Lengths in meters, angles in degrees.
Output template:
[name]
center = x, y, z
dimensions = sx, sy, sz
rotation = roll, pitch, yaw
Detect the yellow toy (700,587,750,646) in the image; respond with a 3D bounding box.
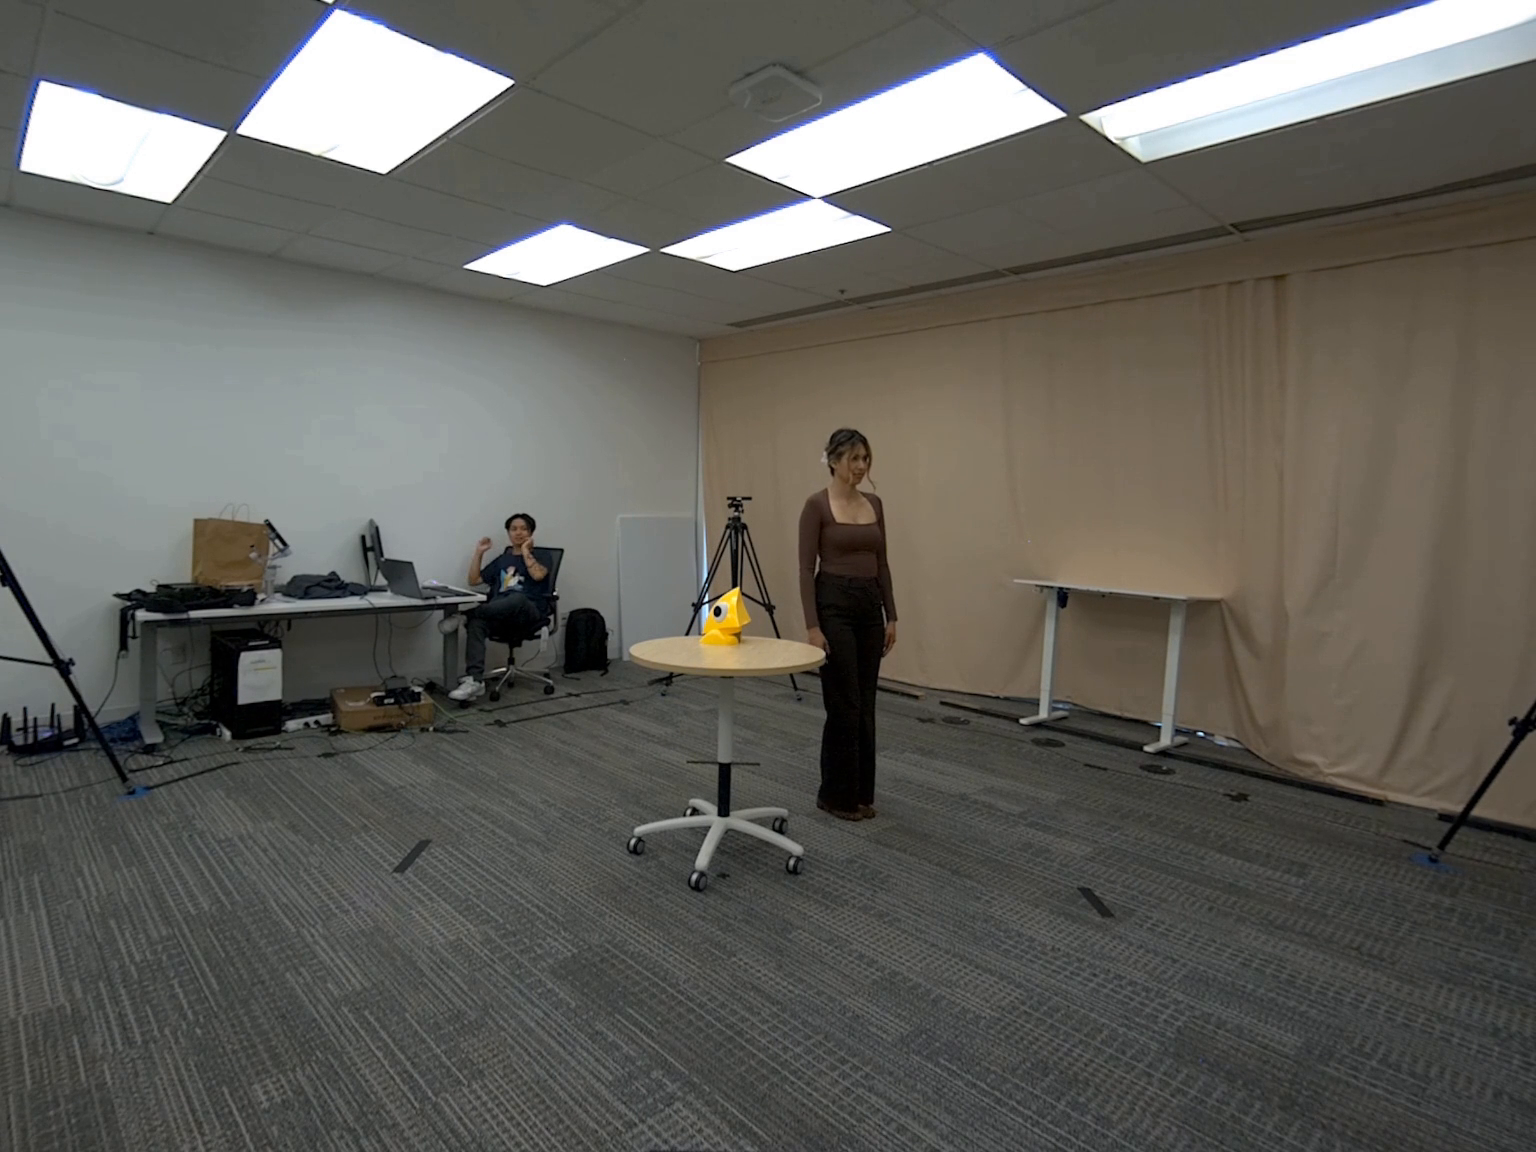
[yellow toy]
center = -0.191, 0.160, 3.521
dimensions = 0.195, 0.230, 0.203
rotation = 2, 3, 13
